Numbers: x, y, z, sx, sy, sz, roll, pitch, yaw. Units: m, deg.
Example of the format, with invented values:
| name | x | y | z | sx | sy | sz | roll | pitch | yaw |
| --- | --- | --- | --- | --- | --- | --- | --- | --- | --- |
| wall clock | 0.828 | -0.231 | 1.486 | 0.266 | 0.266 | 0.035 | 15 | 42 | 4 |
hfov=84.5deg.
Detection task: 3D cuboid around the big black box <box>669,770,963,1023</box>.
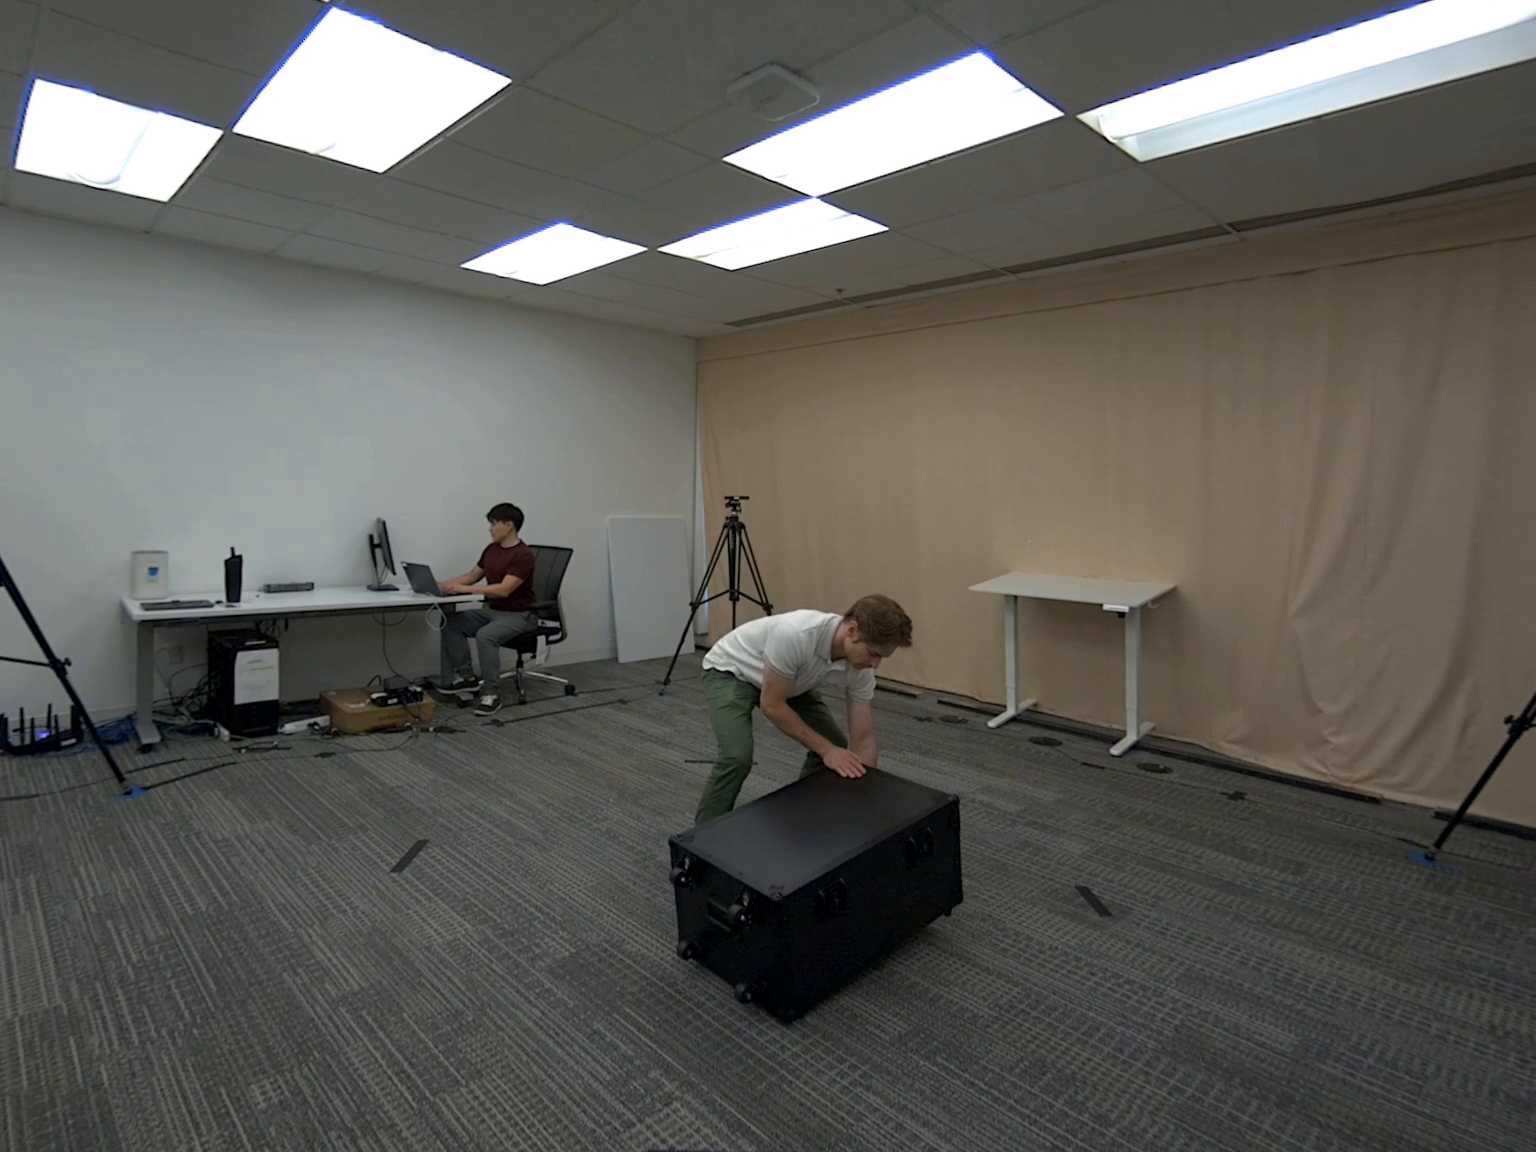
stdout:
| name | x | y | z | sx | sy | sz | roll | pitch | yaw |
| --- | --- | --- | --- | --- | --- | --- | --- | --- | --- |
| big black box | 0.131 | 0.927 | 2.580 | 0.852 | 0.382 | 0.537 | -12 | 13 | -38 |
